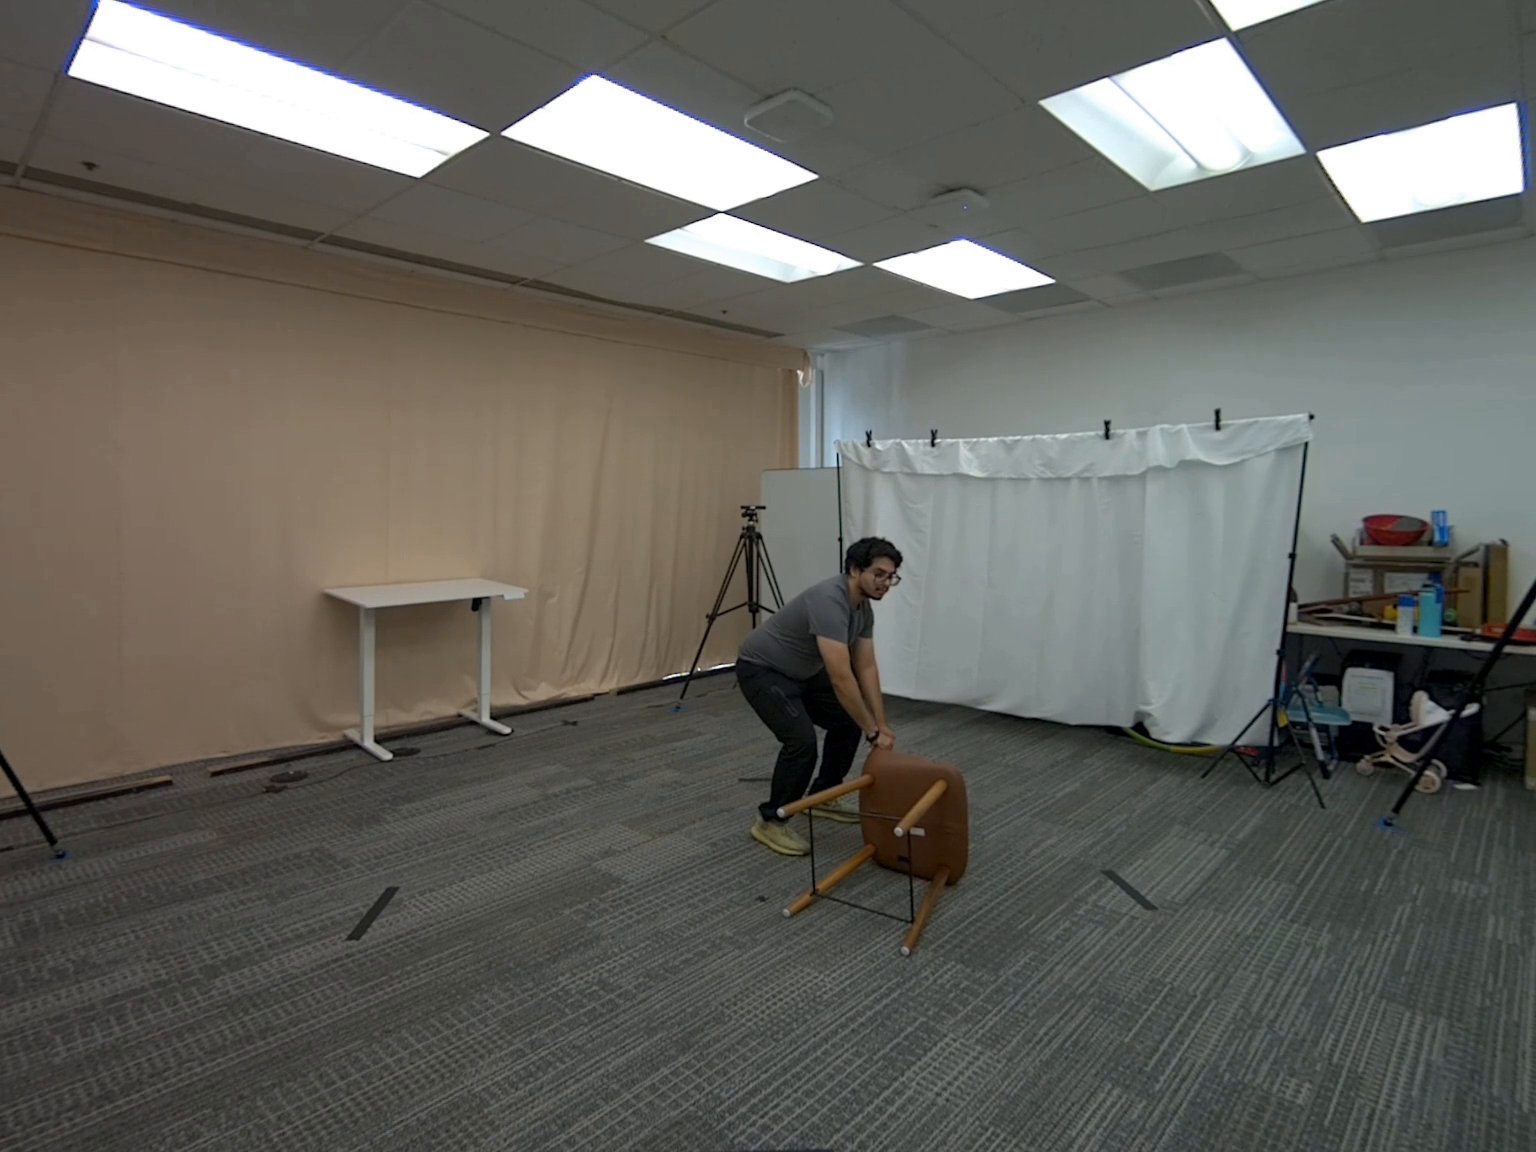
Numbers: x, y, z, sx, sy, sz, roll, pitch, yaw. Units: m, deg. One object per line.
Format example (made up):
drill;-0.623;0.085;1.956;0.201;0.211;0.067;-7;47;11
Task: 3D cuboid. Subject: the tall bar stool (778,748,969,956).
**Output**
tall bar stool;0.456;0.920;3.063;0.481;0.455;0.867;0;6;31
